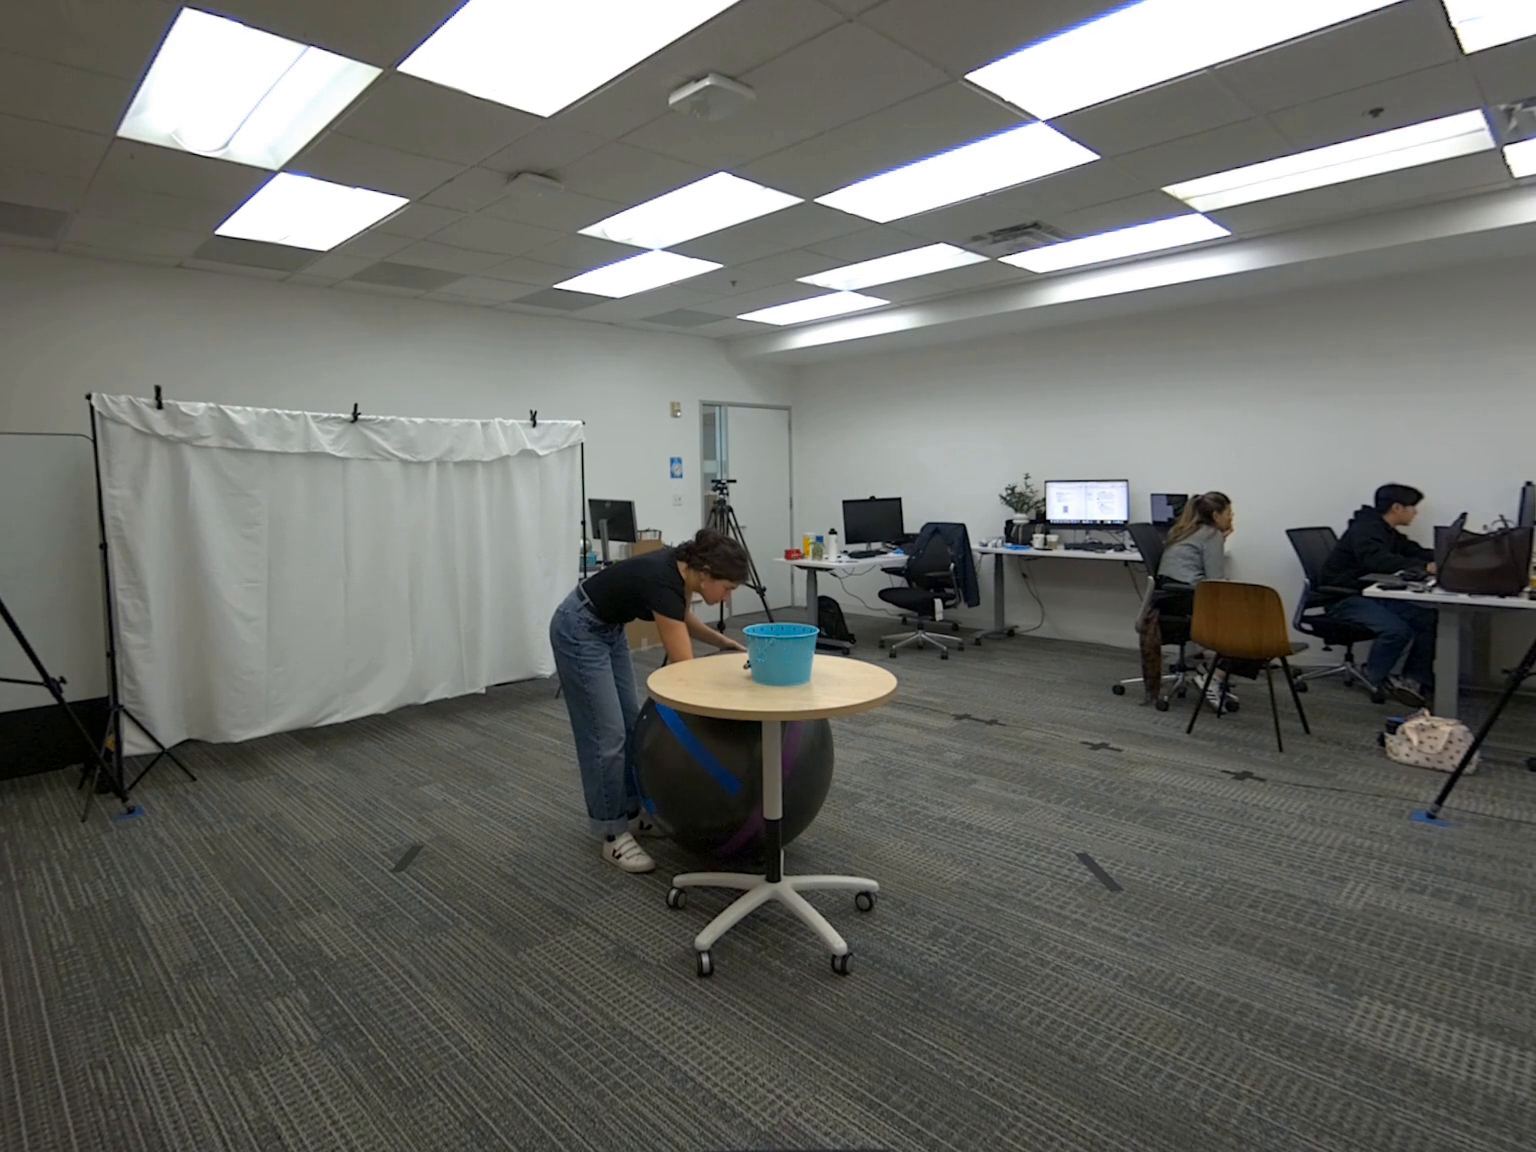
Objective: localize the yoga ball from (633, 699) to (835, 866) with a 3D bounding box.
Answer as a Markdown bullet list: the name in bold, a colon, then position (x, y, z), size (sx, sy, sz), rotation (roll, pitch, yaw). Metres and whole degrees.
- **yoga ball**: position (-0.129, 0.666, 3.203), size (0.757, 0.755, 0.762), rotation (-1, 5, -2)
